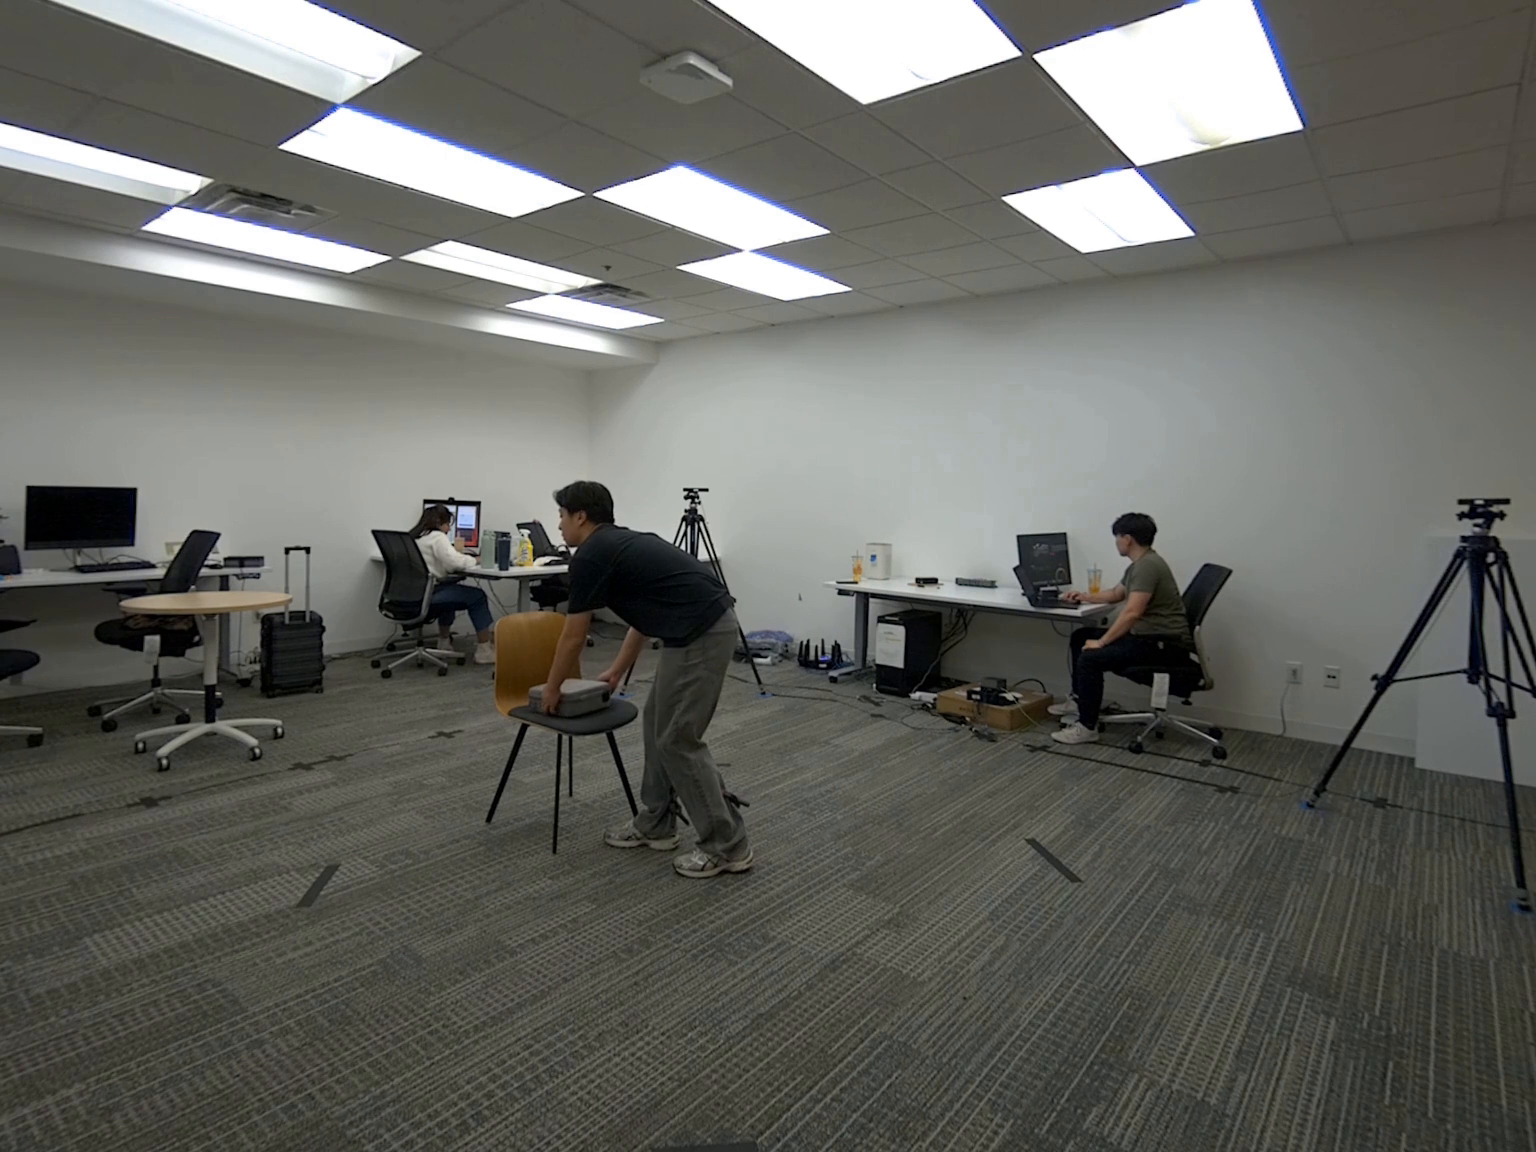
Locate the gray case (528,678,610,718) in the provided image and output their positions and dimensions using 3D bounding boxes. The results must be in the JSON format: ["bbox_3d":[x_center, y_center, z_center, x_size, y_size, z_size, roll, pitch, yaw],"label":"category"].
[{"bbox_3d":[-0.836,0.491,3.470,0.295,0.103,0.256,-1,3,33],"label":"gray case"}]
